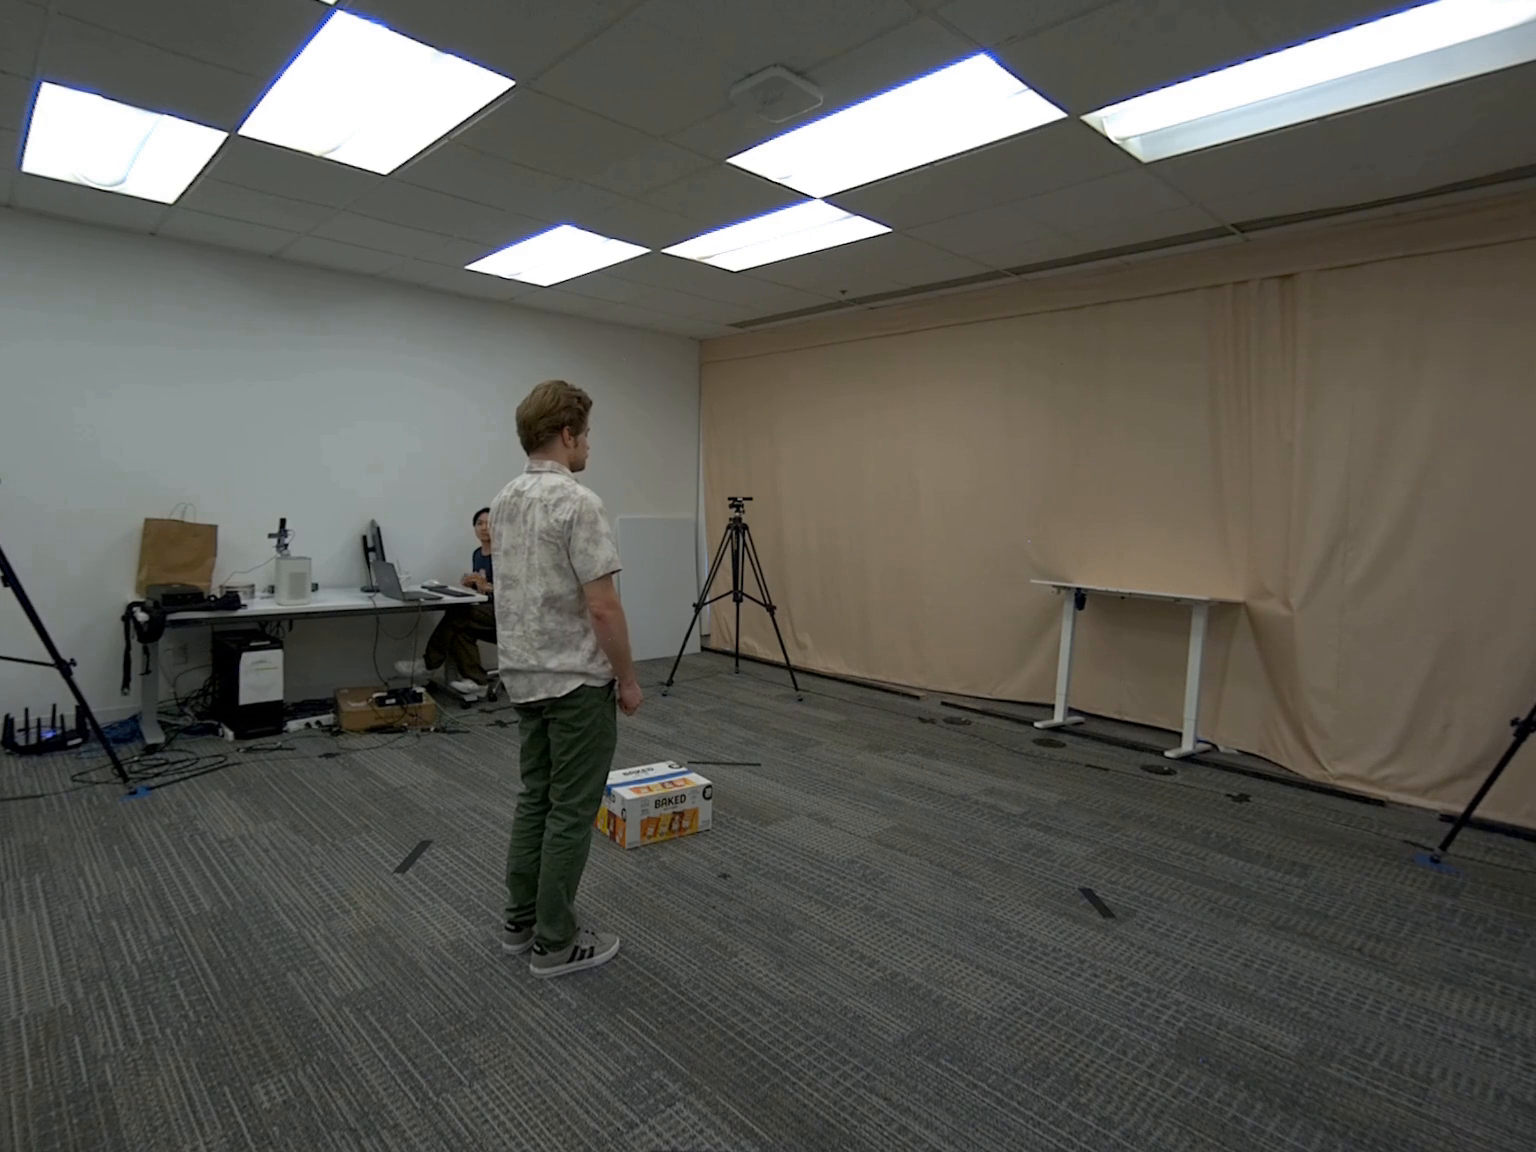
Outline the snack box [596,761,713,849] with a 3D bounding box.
[{"bbox_3d":[-0.505,0.959,3.558,0.396,0.205,0.349,-2,6,-36],"label":"snack box"}]
